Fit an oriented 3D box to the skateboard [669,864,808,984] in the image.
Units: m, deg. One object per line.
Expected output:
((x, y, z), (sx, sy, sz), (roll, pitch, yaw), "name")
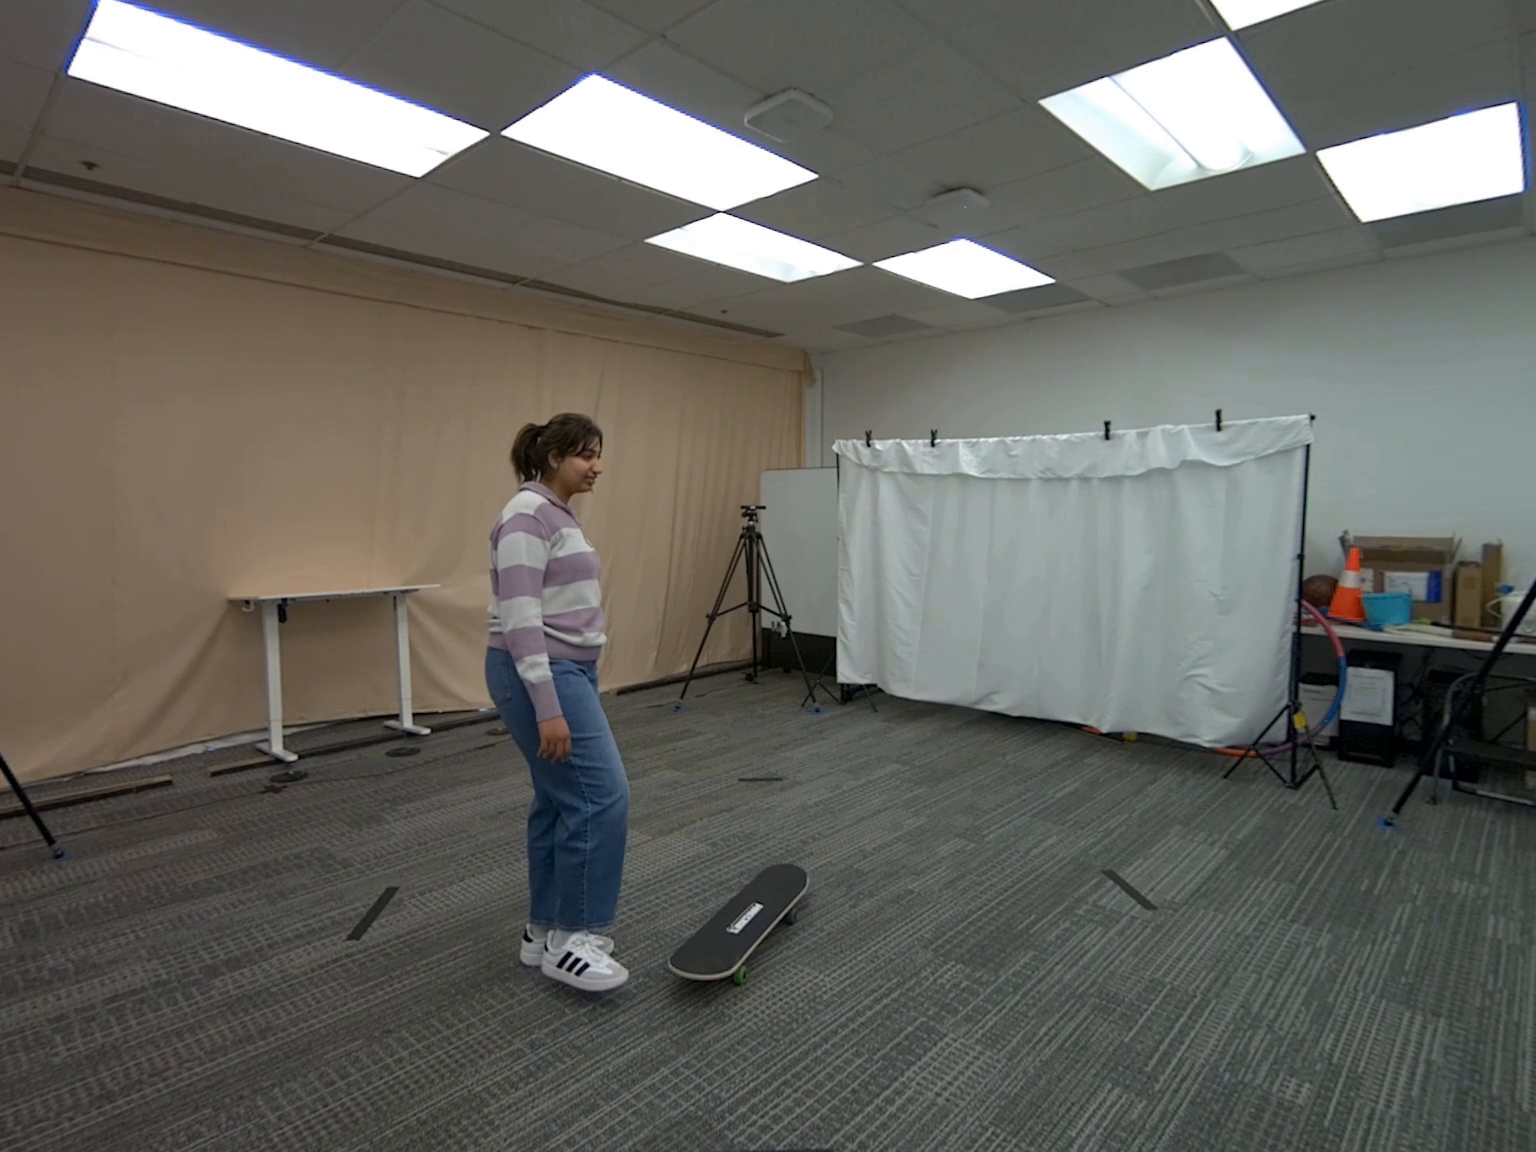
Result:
((-0.076, 1.114, 2.666), (0.198, 0.110, 0.767), (2, 5, 24), "skateboard")
